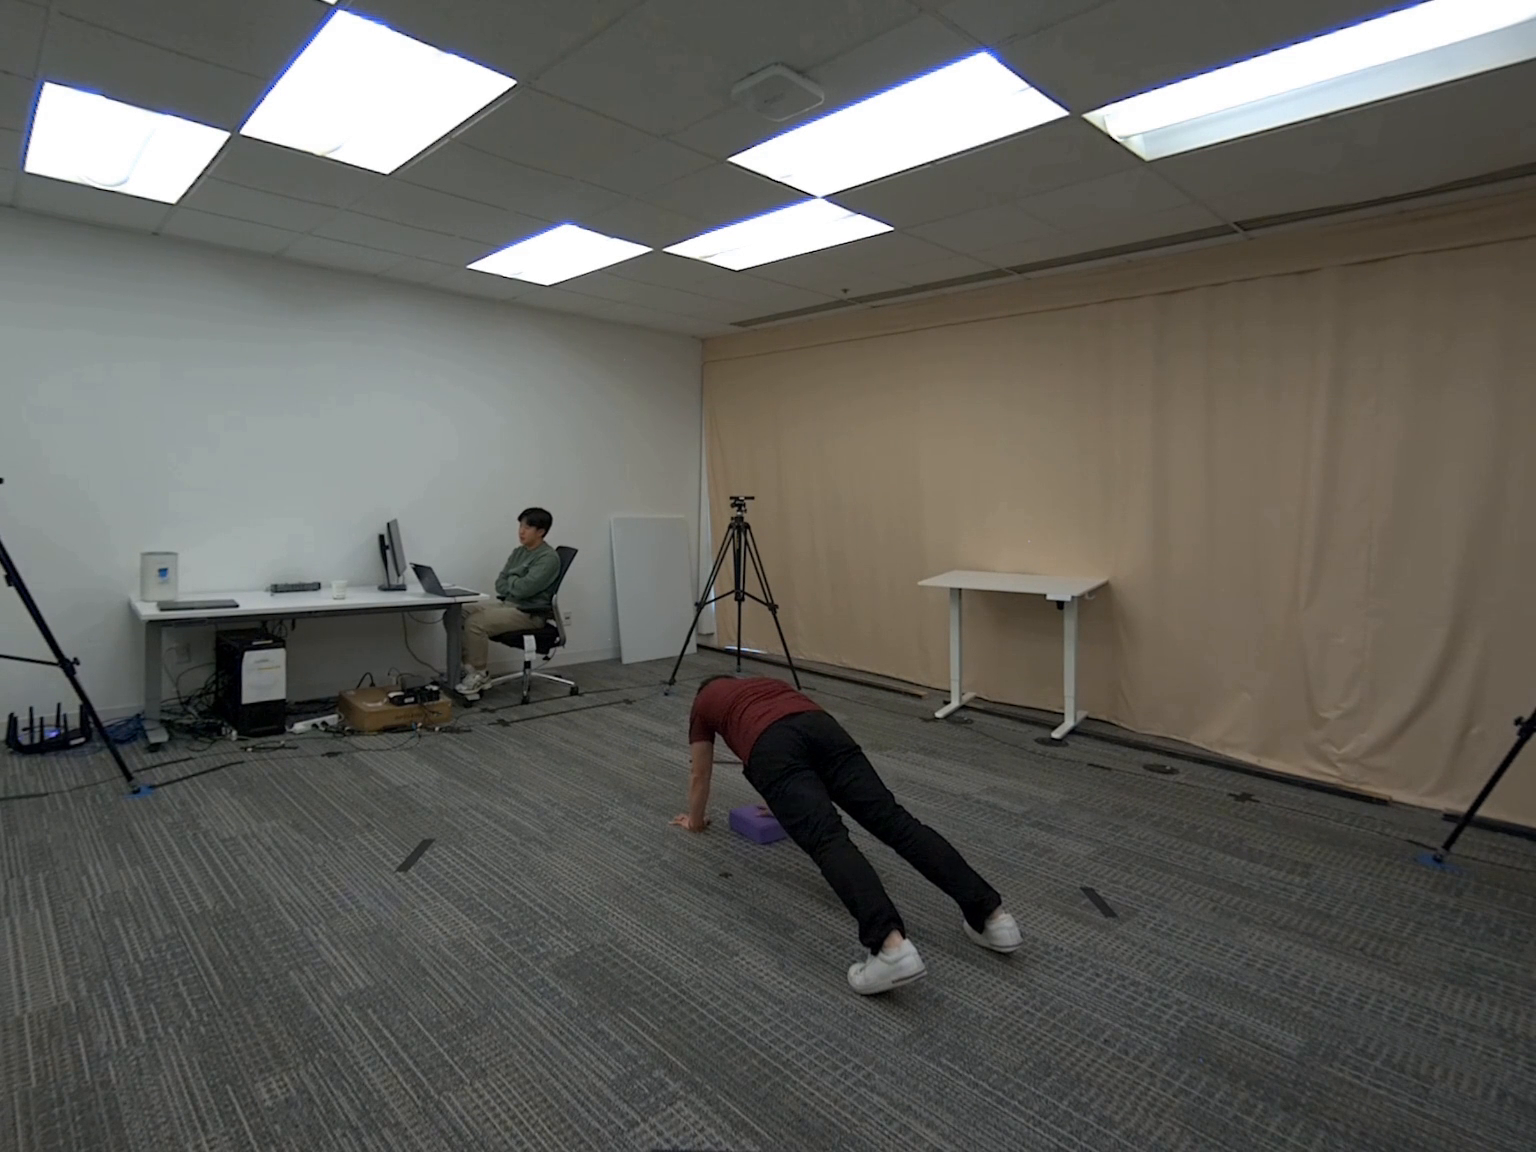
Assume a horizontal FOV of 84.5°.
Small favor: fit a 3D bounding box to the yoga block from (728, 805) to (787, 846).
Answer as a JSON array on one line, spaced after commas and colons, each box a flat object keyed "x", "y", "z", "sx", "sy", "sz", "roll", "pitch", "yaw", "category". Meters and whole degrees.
[{"x": -0.053, "y": 1.029, "z": 3.501, "sx": 0.146, "sy": 0.076, "sz": 0.235, "roll": -3, "pitch": 5, "yaw": -38, "category": "yoga block"}]
